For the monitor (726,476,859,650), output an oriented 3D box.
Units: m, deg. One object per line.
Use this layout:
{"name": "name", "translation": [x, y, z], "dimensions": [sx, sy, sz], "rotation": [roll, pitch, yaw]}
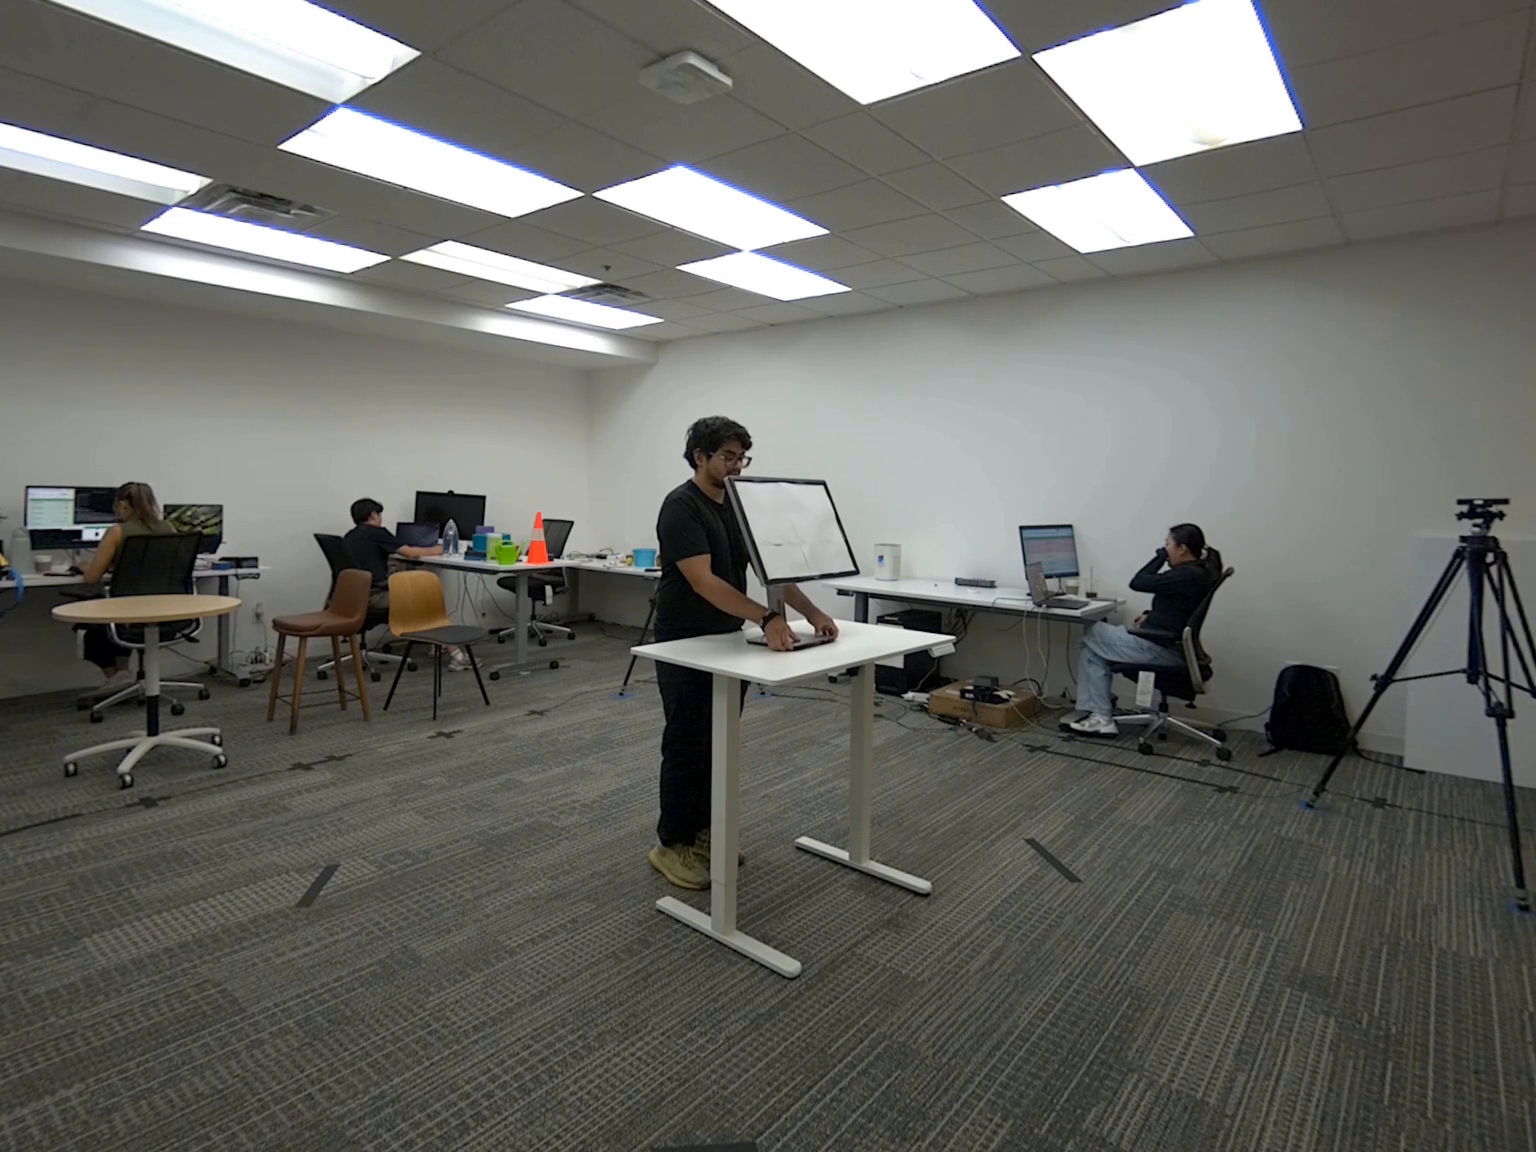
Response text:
{"name": "monitor", "translation": [0.041, -0.052, 2.840], "dimensions": [0.214, 0.559, 0.549], "rotation": [-19, -9, 35]}
